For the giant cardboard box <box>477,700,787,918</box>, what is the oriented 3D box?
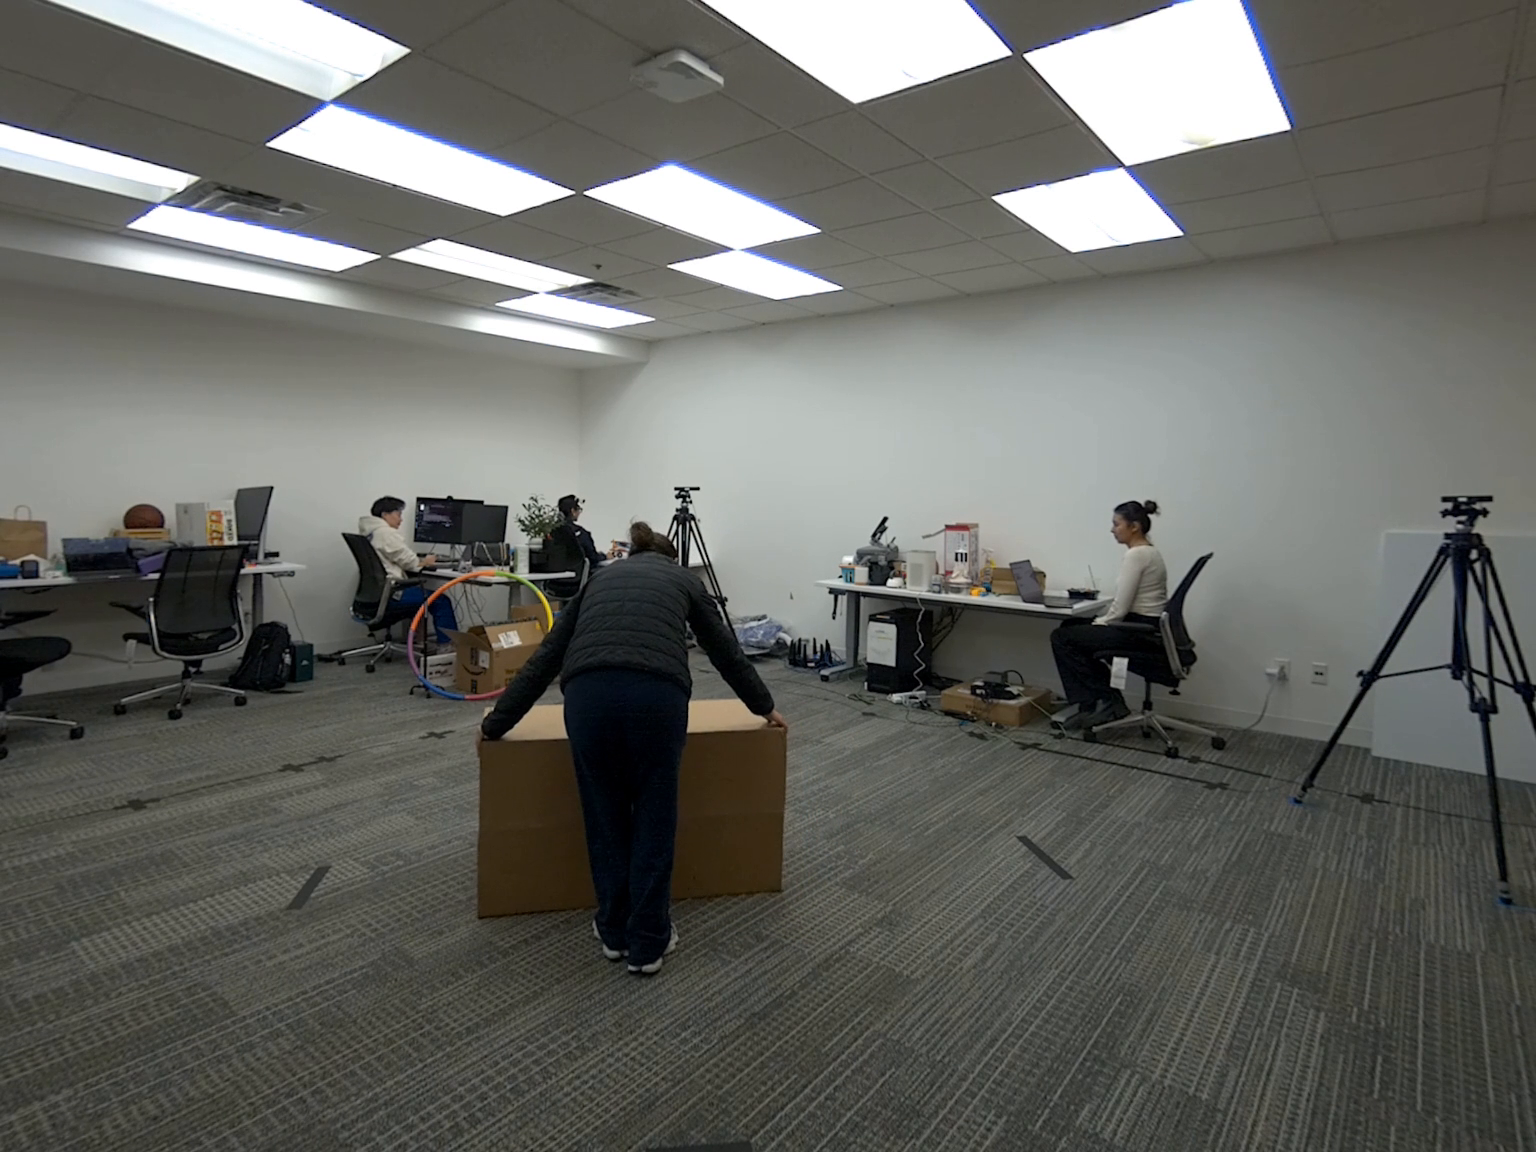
[{"bbox_3d":[-0.477,0.782,3.039,1.013,0.583,0.454,0,3,-13],"label":"giant cardboard box"}]
